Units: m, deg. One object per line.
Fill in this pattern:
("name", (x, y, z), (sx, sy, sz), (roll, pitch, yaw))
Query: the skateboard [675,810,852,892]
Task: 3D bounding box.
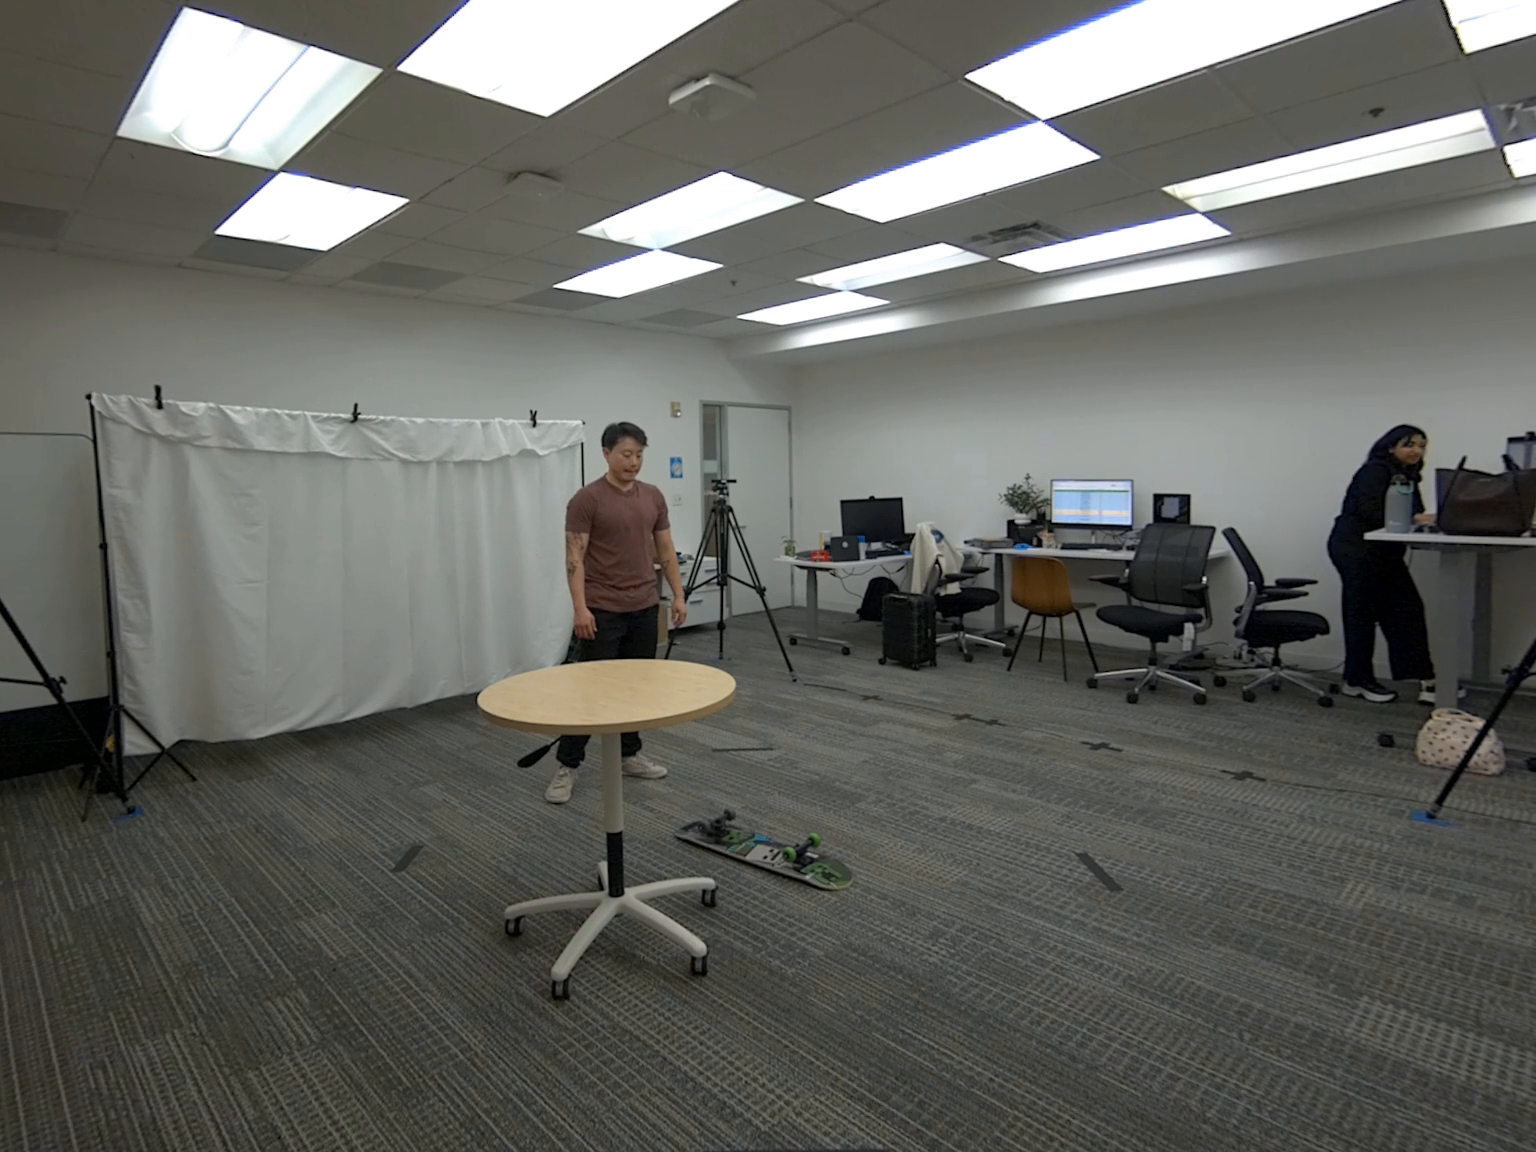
("skateboard", (-0.034, 0.986, 3.175), (0.809, 0.110, 0.189), (4, 9, 39))
